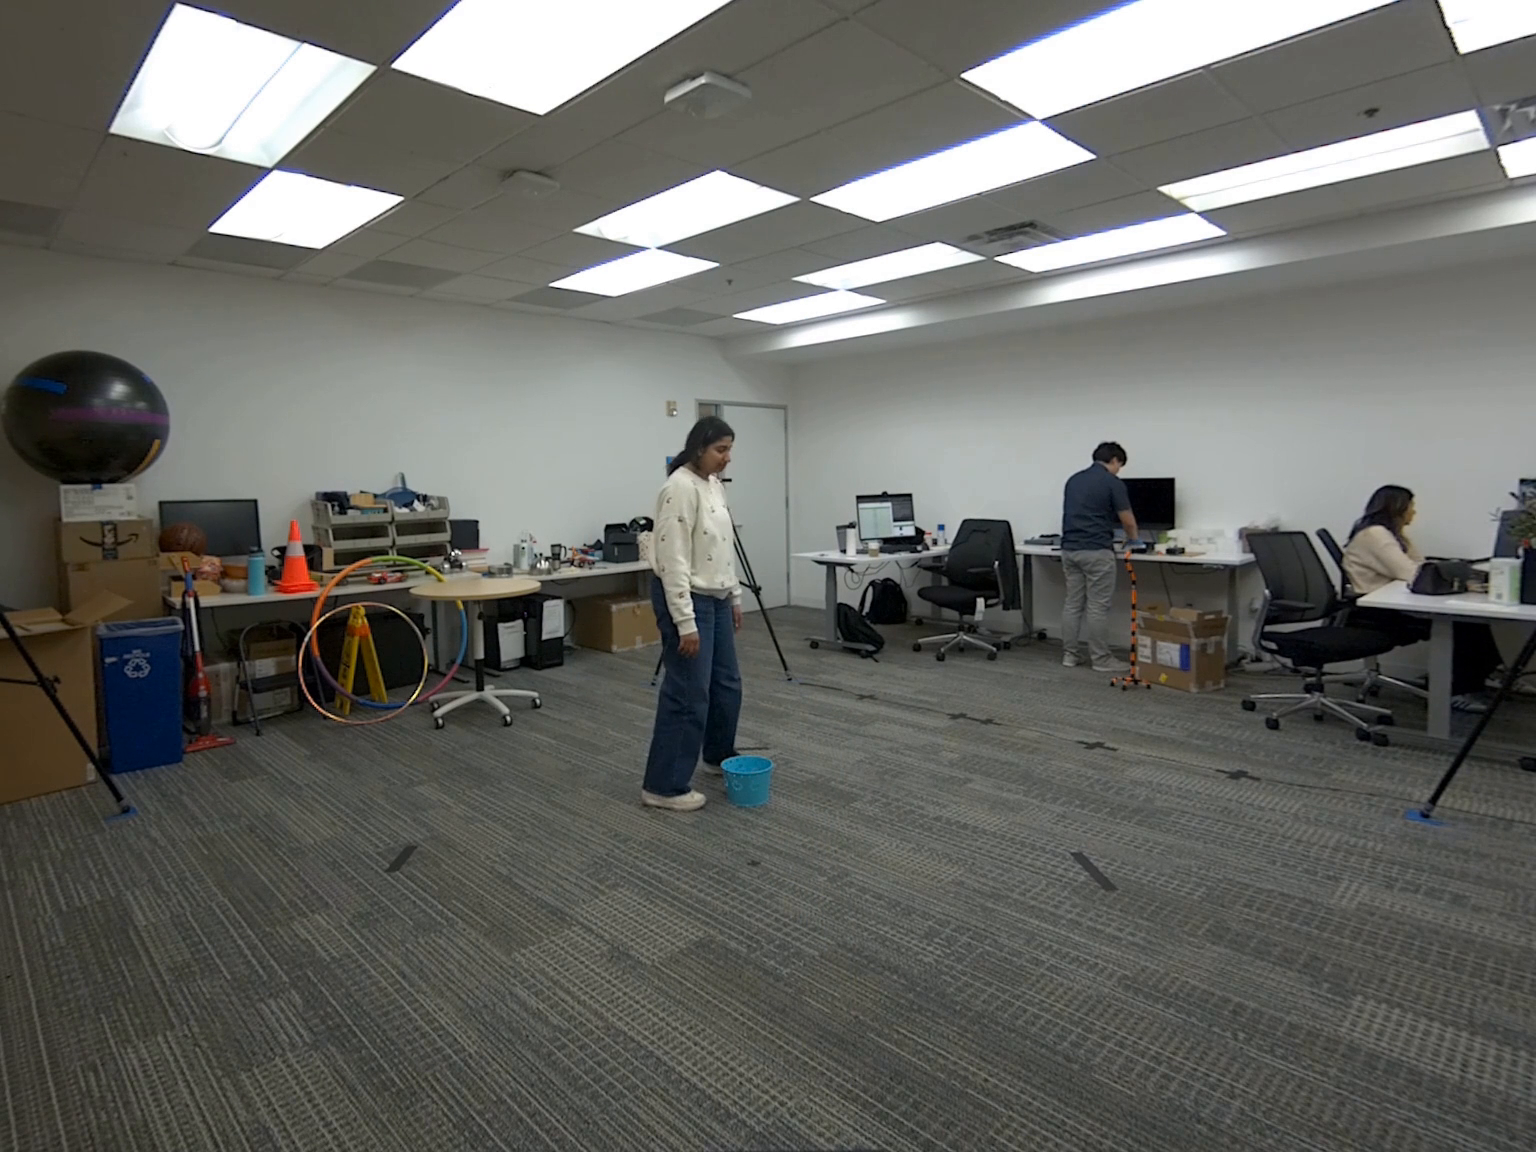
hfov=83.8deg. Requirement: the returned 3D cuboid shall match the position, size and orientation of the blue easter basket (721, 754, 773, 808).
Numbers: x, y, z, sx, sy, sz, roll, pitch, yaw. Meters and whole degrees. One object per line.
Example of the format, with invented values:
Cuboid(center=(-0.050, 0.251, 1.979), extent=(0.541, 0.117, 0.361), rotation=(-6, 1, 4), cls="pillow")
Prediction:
Cuboid(center=(-0.087, 0.890, 3.727), extent=(0.243, 0.155, 0.245), rotation=(-1, 5, -2), cls="blue easter basket")
